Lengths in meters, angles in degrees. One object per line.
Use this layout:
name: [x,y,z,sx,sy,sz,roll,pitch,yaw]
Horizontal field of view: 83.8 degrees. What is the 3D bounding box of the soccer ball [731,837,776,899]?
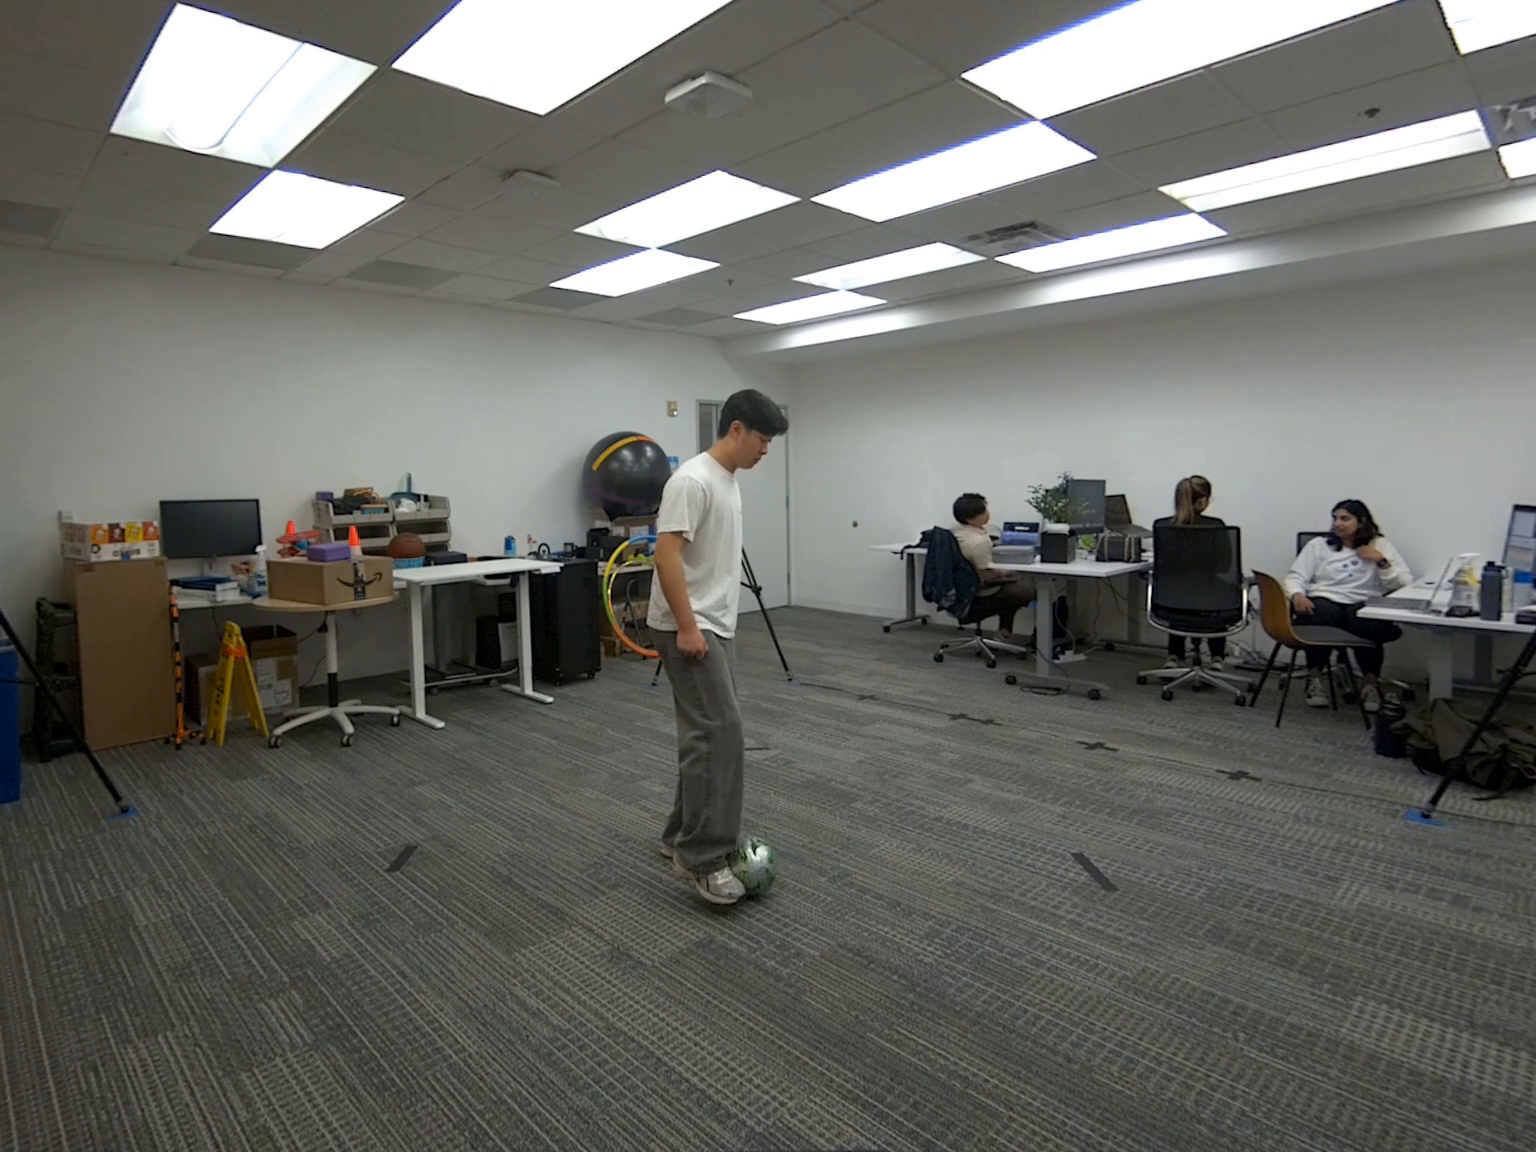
soccer ball: [-0.030,0.969,2.901,0.187,0.187,0.188,-1,5,-2]
